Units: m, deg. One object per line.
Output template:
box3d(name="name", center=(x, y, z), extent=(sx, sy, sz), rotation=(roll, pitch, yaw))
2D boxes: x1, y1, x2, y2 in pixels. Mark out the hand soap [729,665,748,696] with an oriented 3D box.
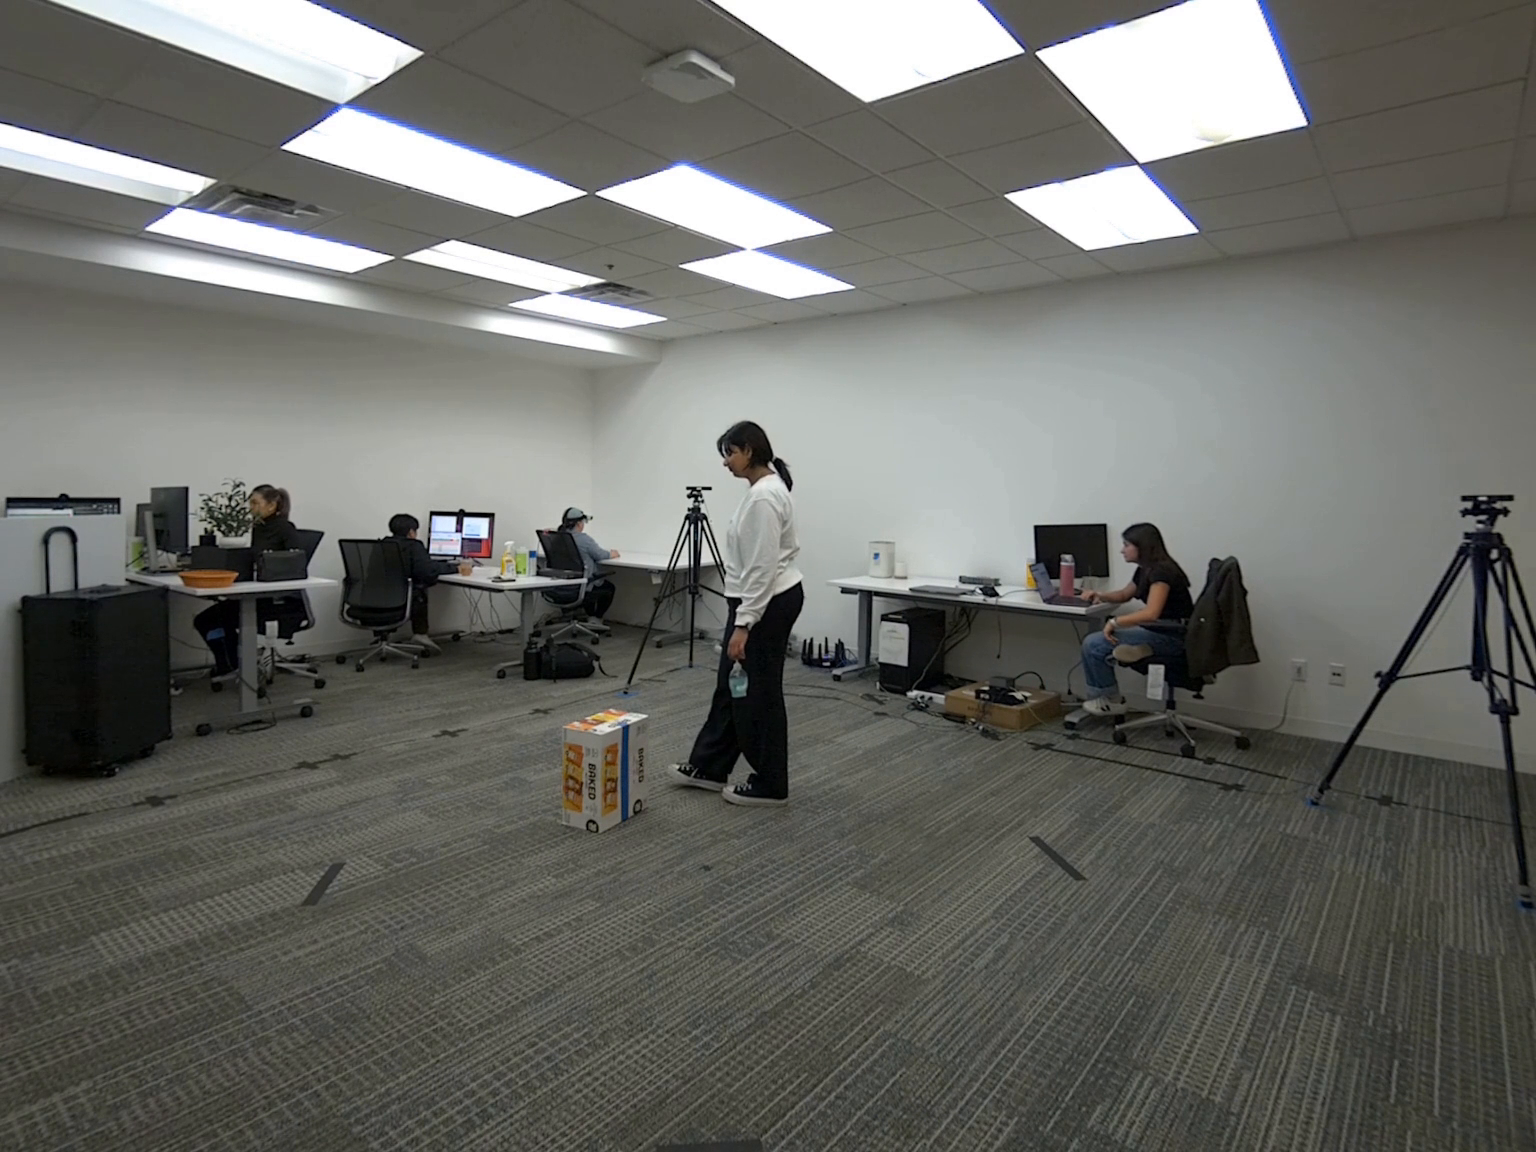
box3d(name="hand soap", center=(-0.116, 0.411, 3.517), extent=(0.082, 0.168, 0.044), rotation=(5, -3, -32))
